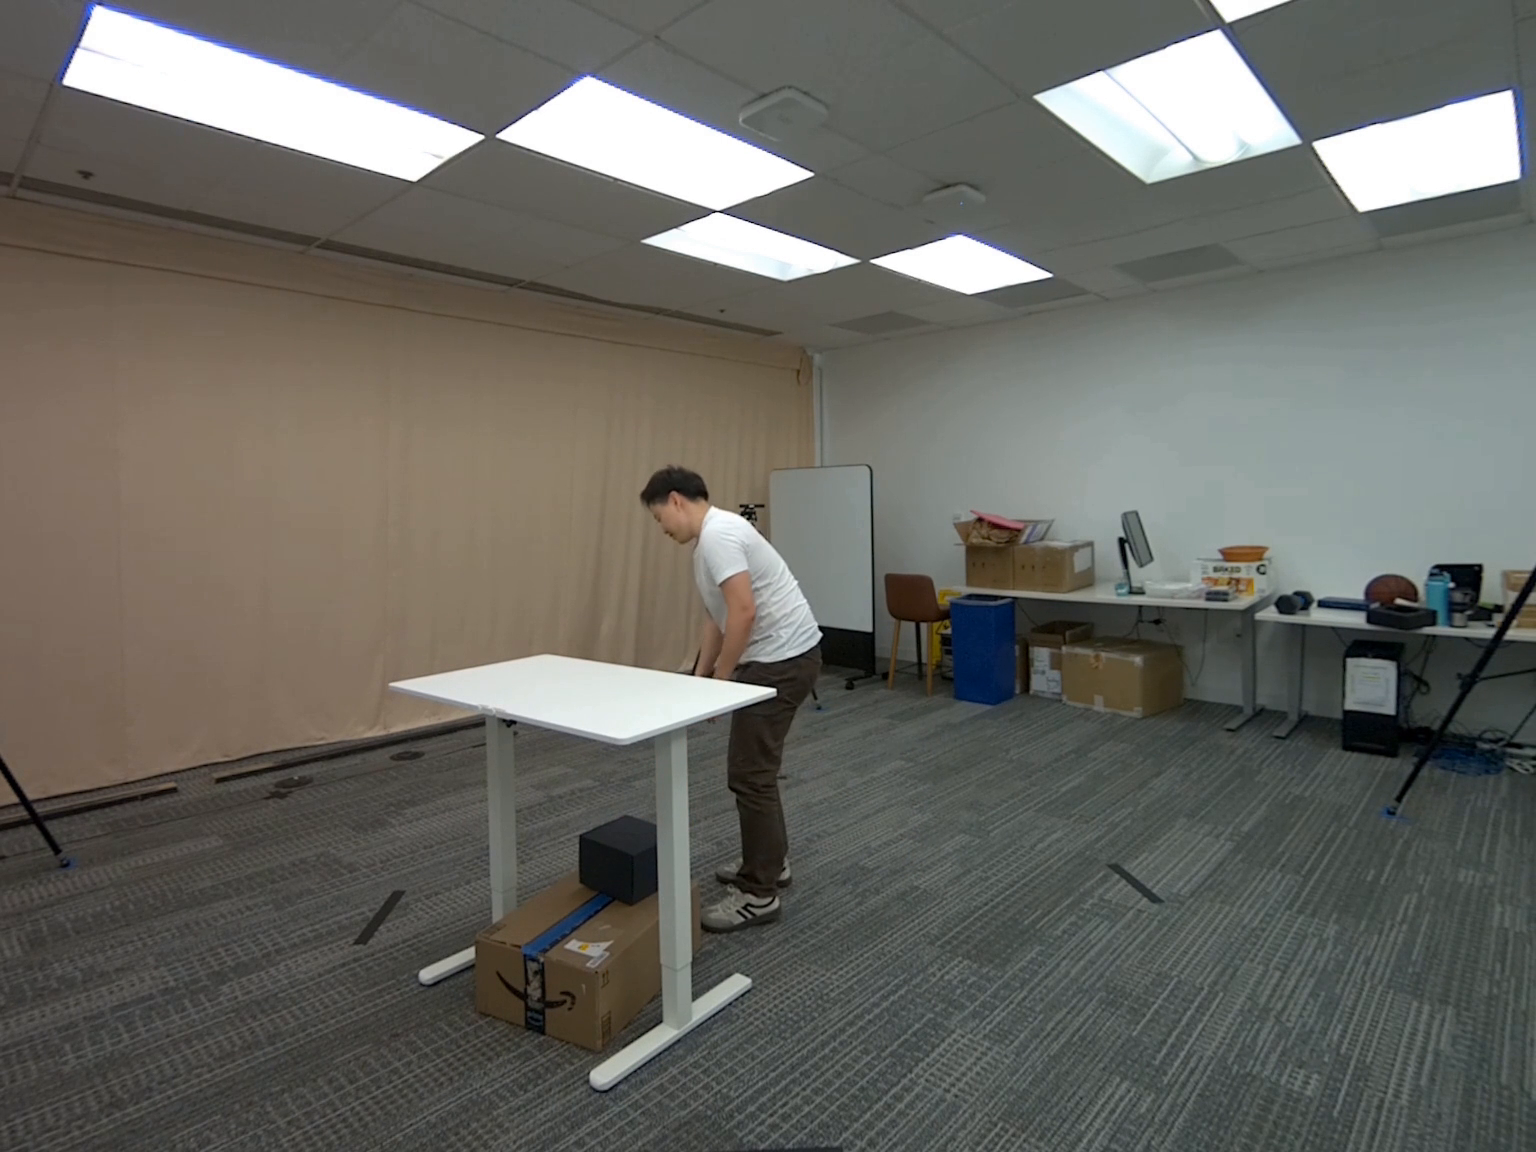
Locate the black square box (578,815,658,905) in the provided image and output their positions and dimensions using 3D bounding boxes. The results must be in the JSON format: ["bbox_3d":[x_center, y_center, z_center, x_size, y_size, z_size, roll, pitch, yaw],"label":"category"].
[{"bbox_3d":[-0.430,0.875,2.618,0.235,0.155,0.211,4,7,35],"label":"black square box"}]
